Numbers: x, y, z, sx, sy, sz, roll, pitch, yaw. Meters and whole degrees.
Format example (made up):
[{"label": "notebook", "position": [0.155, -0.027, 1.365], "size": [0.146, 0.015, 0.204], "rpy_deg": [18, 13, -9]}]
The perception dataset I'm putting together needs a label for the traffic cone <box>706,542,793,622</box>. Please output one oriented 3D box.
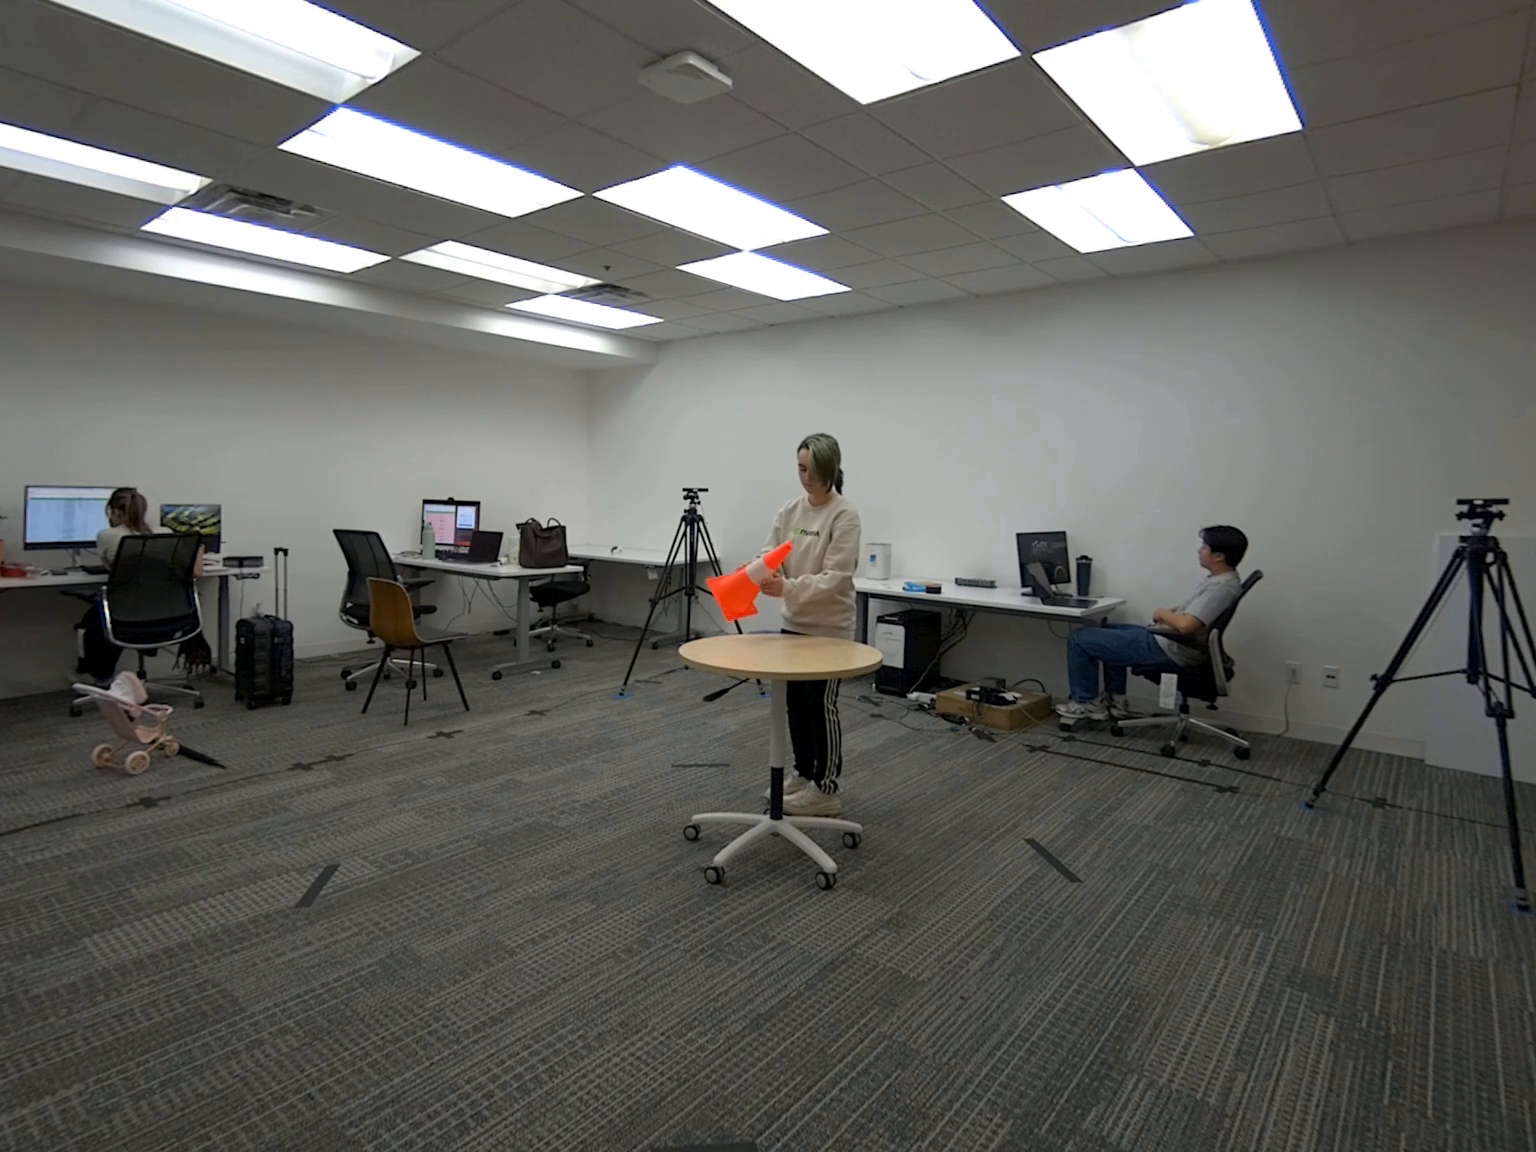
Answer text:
[{"label": "traffic cone", "position": [-0.044, -0.015, 3.353], "size": [0.198, 0.210, 0.385], "rpy_deg": [-7, -29, -49]}]
